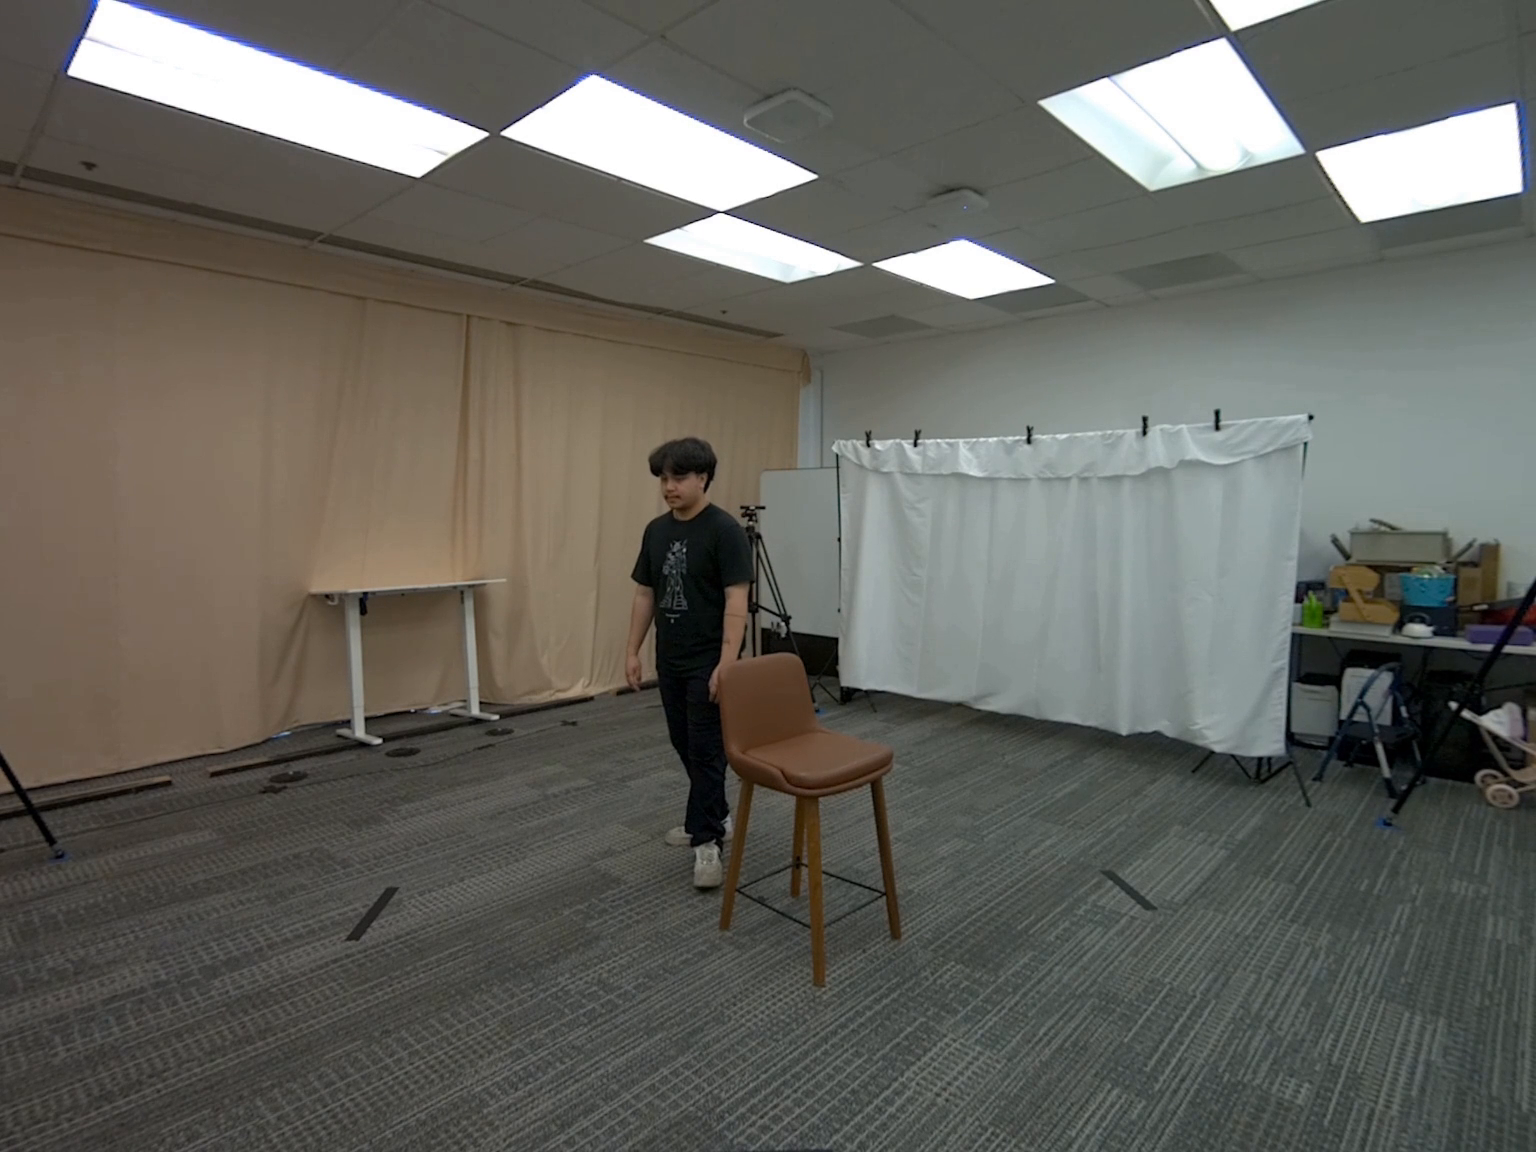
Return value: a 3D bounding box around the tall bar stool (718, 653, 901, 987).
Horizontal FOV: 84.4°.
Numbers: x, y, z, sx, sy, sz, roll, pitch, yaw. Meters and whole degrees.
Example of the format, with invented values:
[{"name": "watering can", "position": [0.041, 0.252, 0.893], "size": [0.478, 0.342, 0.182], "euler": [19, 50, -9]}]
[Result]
[{"name": "tall bar stool", "position": [0.130, 0.732, 2.717], "size": [0.442, 0.888, 0.483], "euler": [-3, 3, -44]}]
